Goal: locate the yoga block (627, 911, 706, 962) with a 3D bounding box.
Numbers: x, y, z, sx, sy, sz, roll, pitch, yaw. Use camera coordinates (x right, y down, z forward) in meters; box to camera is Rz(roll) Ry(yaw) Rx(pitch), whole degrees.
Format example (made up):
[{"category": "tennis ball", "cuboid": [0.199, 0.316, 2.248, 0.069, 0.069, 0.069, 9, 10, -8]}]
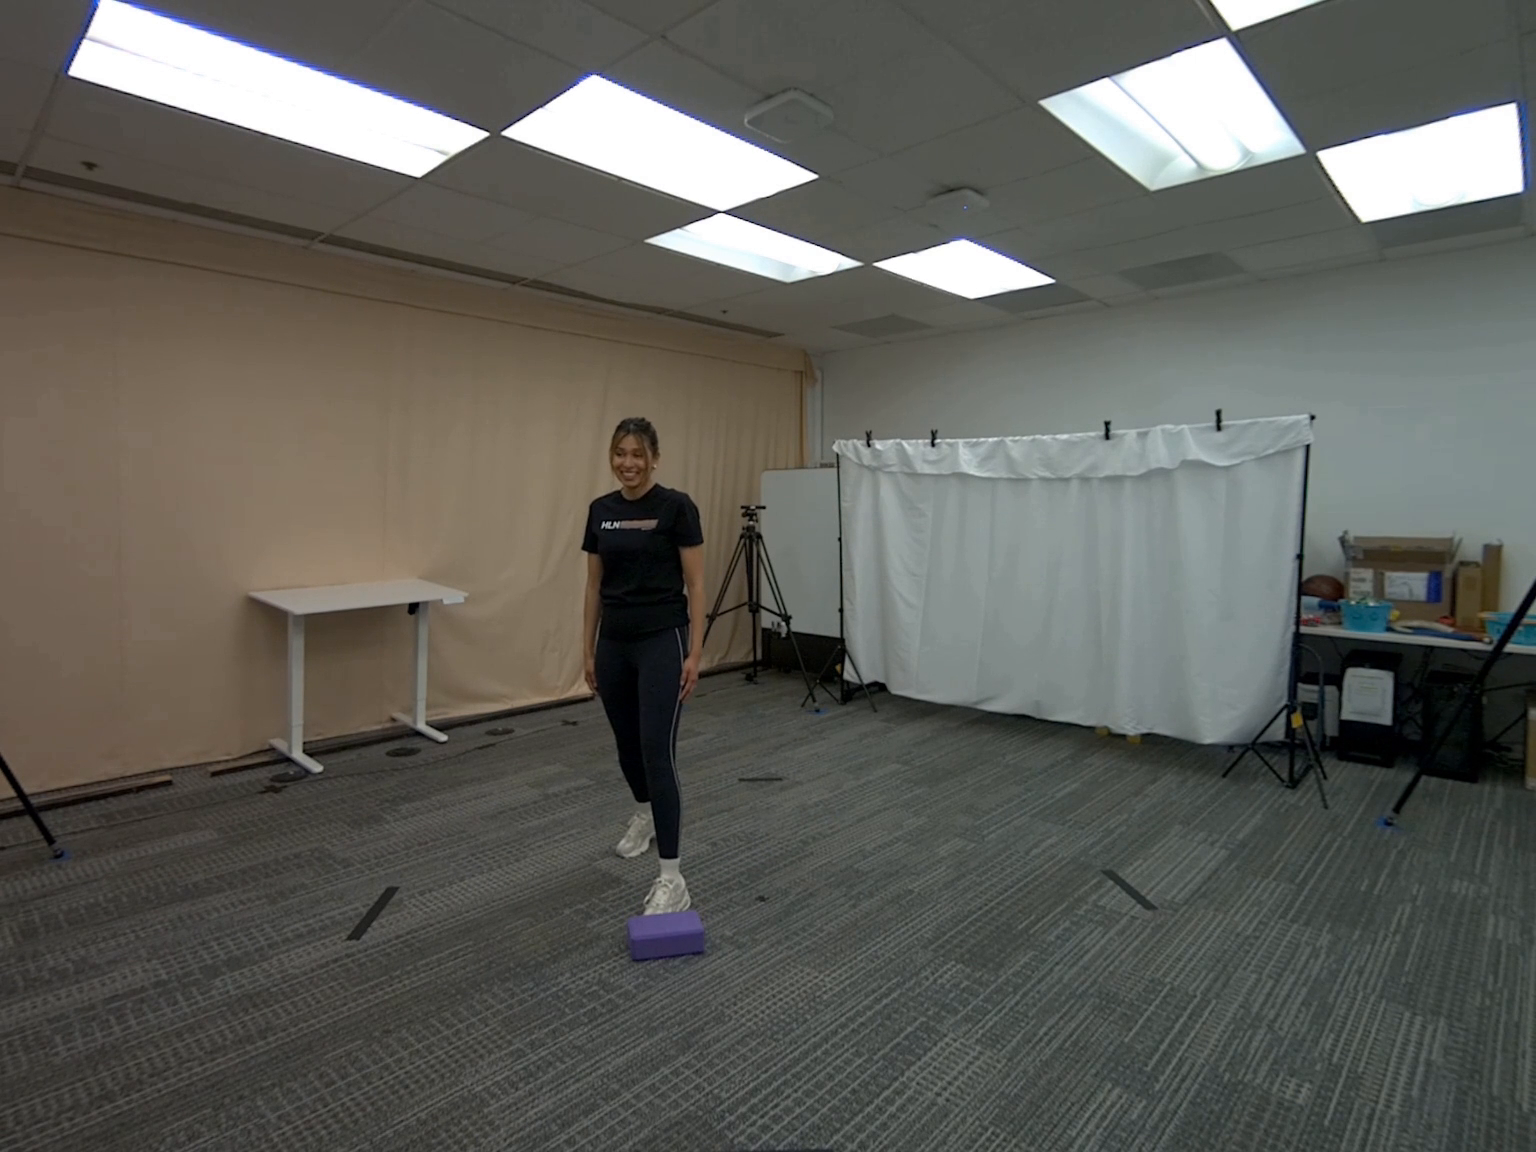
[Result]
[{"category": "yoga block", "cuboid": [-0.324, 1.129, 2.660, 0.227, 0.076, 0.151, 1, 4, -11]}]
